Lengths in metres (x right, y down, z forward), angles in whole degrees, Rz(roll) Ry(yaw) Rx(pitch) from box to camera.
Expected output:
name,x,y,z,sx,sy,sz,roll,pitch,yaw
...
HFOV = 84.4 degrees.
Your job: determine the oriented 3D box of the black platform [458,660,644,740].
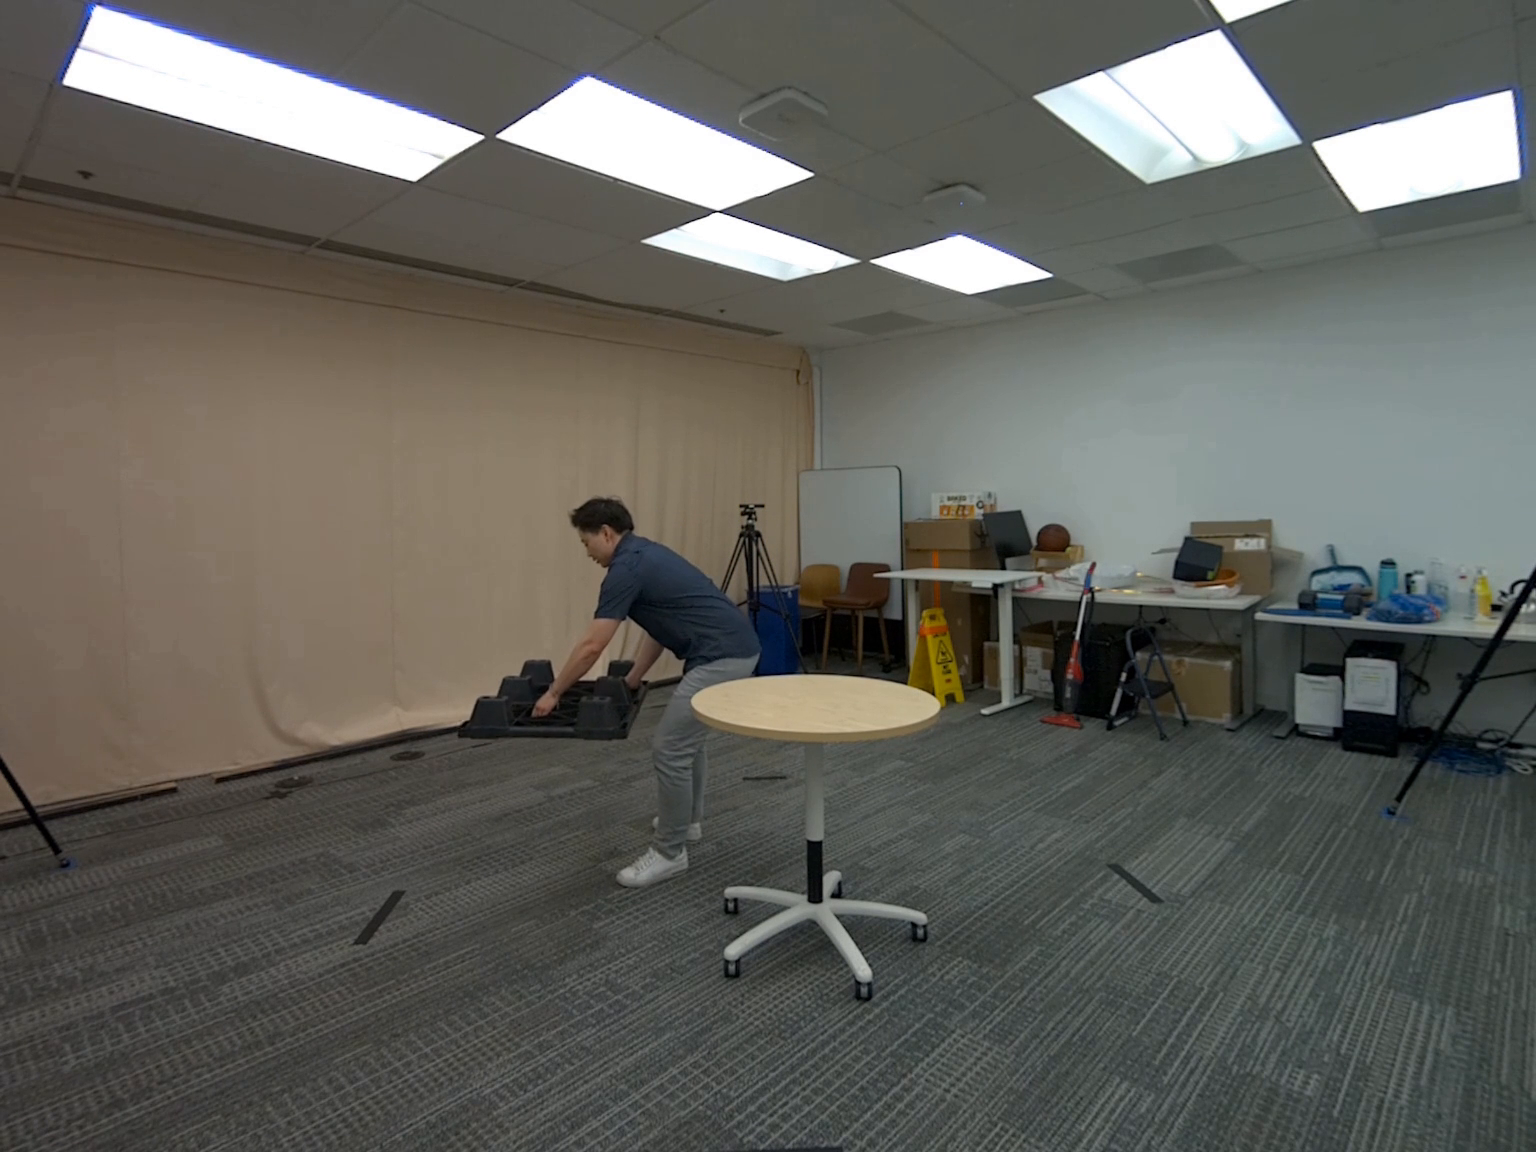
name,x,y,z,sx,sy,sz,roll,pitch,yaw
black platform,-0.811,0.473,3.333,0.605,0.143,0.808,0,5,-1
